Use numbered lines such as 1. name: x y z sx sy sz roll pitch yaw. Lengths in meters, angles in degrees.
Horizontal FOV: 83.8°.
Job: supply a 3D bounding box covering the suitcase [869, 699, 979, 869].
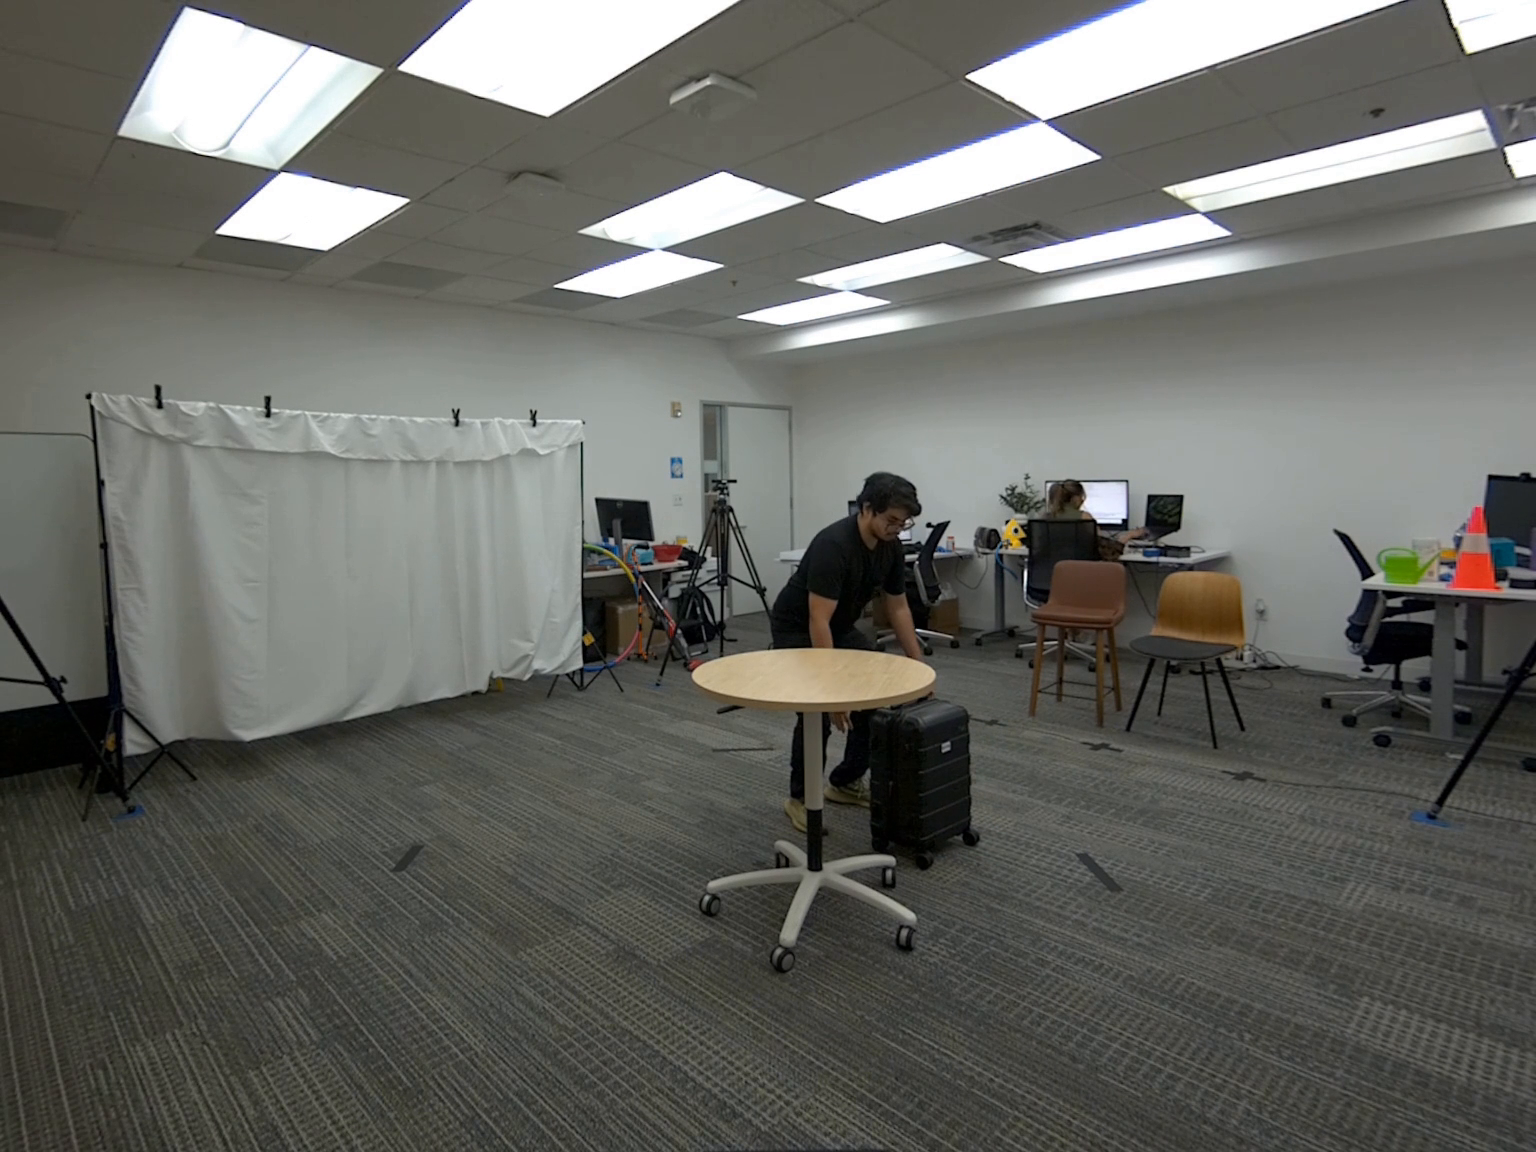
1. suitcase: 0.583 0.750 3.221 0.365 0.548 0.256 -5 4 -42
